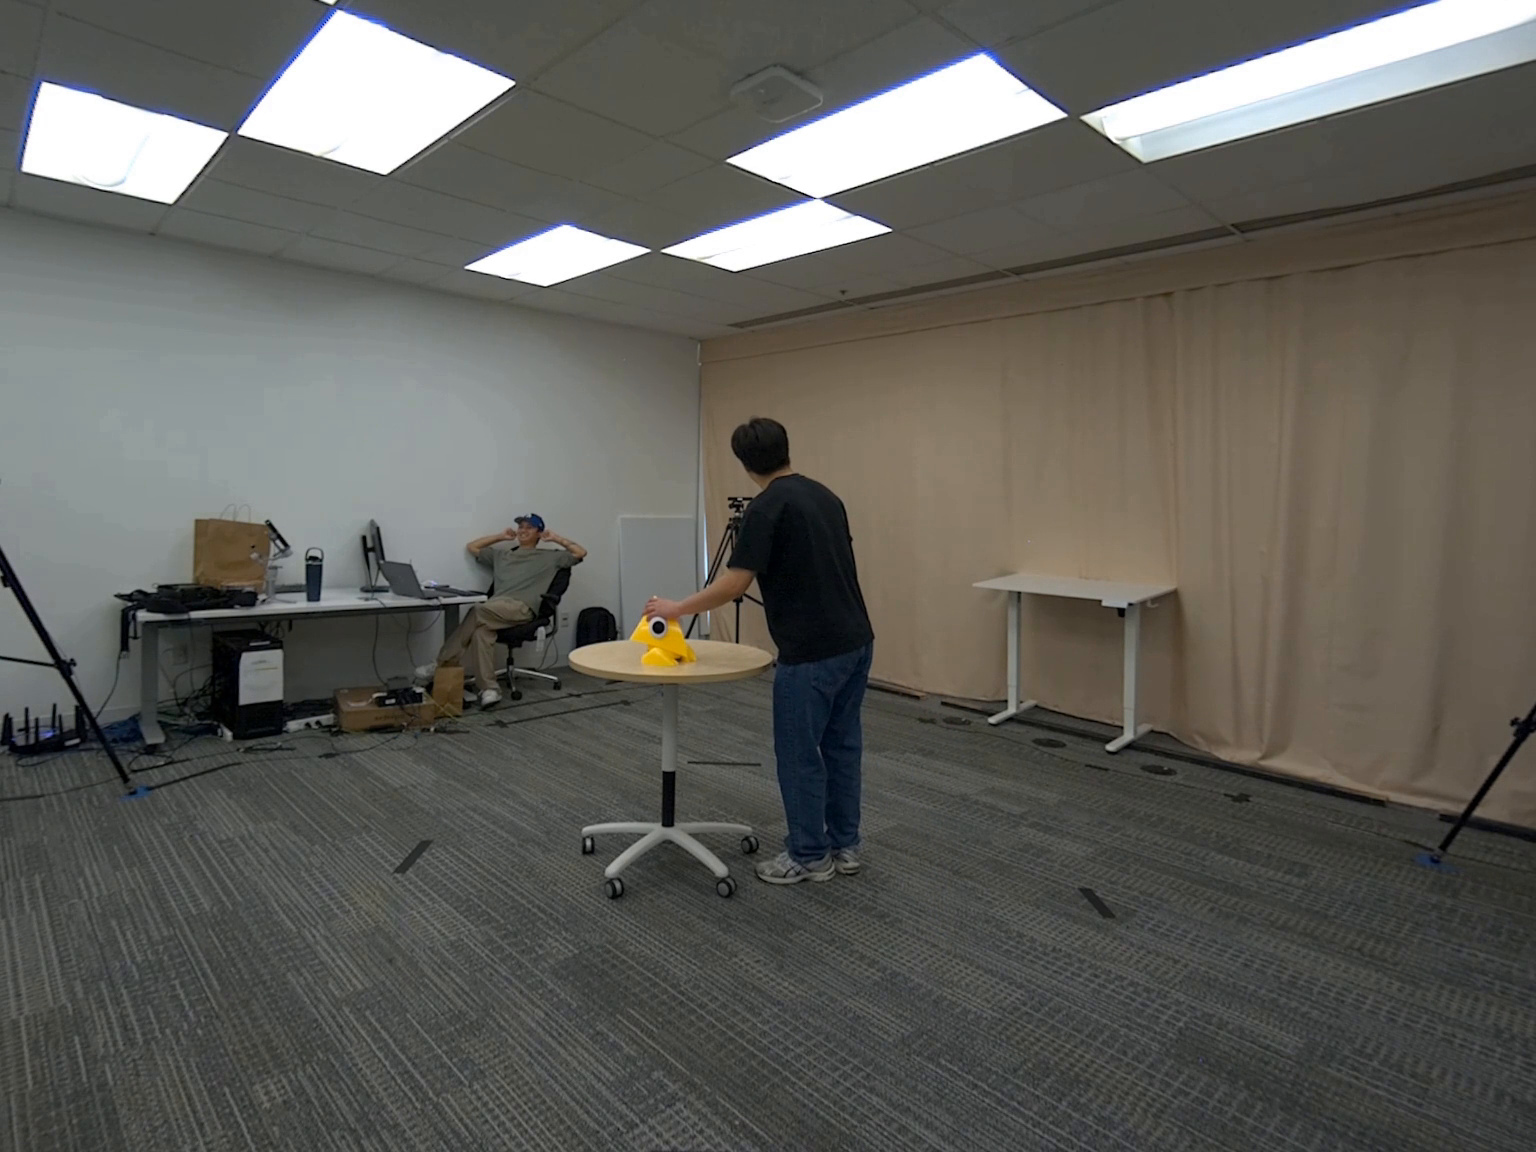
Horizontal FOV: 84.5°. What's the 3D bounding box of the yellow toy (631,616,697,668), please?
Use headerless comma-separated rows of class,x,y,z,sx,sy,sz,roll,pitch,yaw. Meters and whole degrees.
yellow toy,-0.371,0.195,3.069,0.197,0.230,0.201,4,5,32
